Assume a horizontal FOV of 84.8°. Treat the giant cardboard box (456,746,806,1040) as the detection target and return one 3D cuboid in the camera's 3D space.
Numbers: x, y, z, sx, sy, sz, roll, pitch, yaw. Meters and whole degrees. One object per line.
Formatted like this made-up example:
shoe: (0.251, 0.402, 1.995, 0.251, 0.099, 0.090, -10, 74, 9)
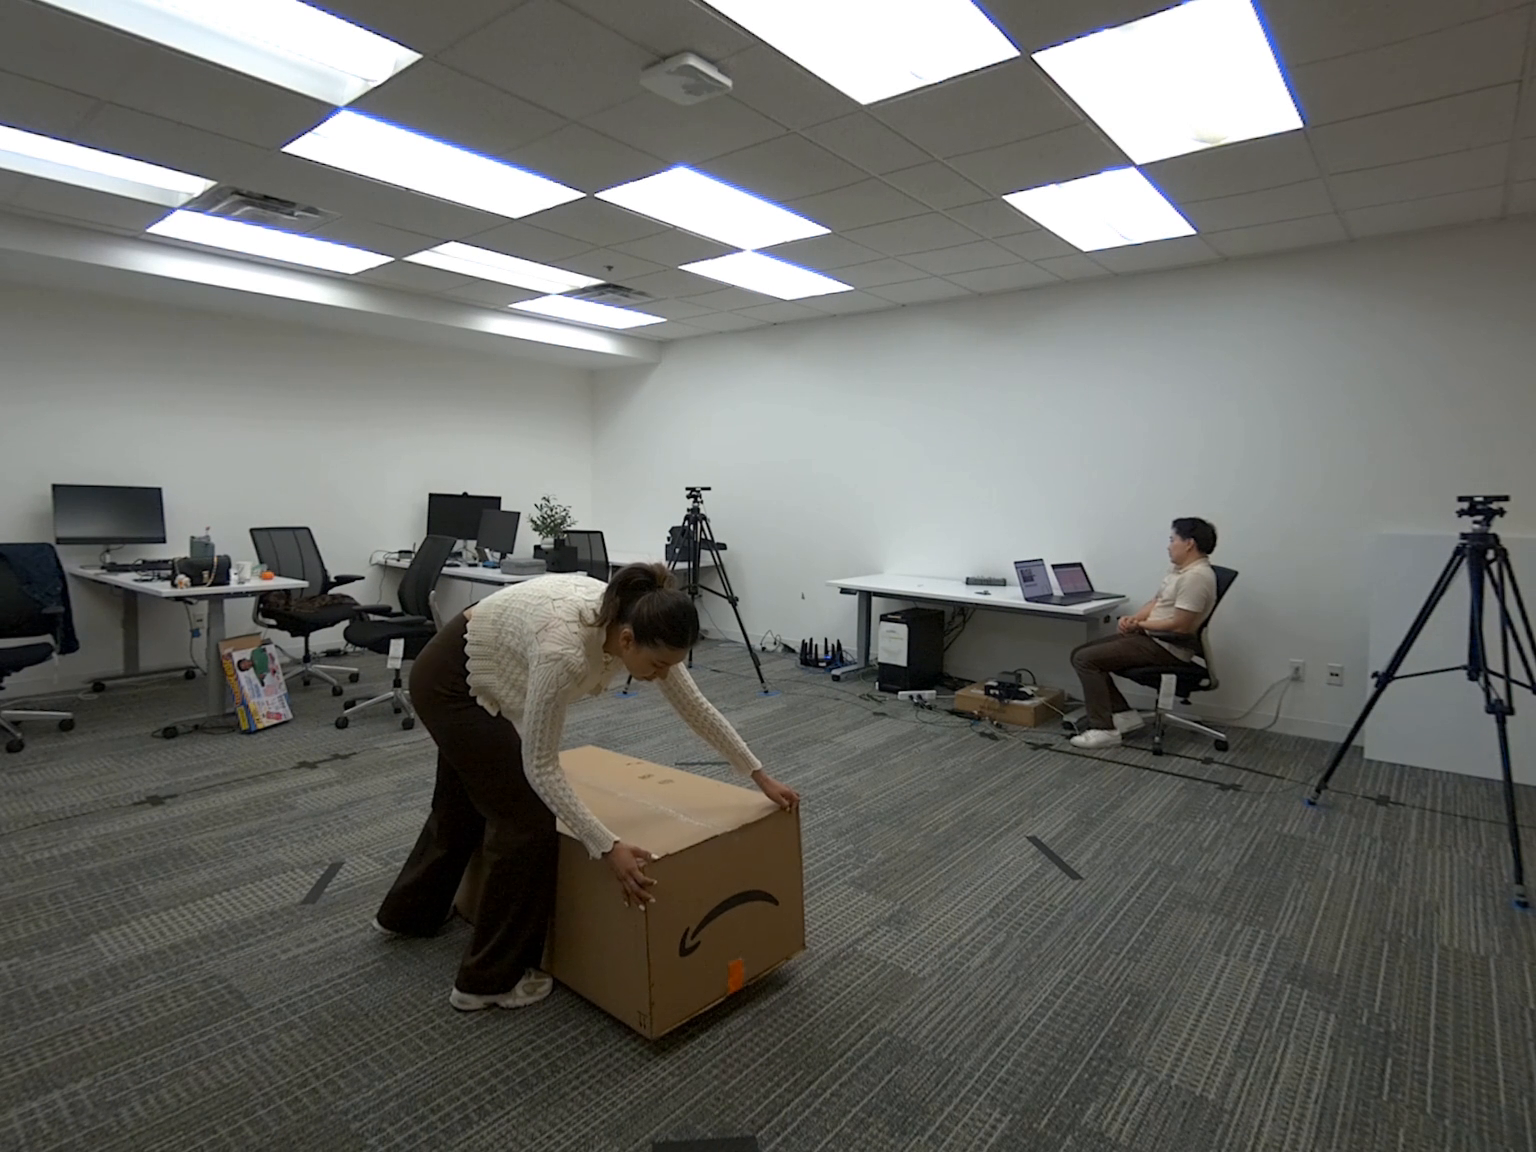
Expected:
giant cardboard box: (-0.472, 0.872, 2.593, 1.059, 0.425, 0.561, 1, 5, 45)
